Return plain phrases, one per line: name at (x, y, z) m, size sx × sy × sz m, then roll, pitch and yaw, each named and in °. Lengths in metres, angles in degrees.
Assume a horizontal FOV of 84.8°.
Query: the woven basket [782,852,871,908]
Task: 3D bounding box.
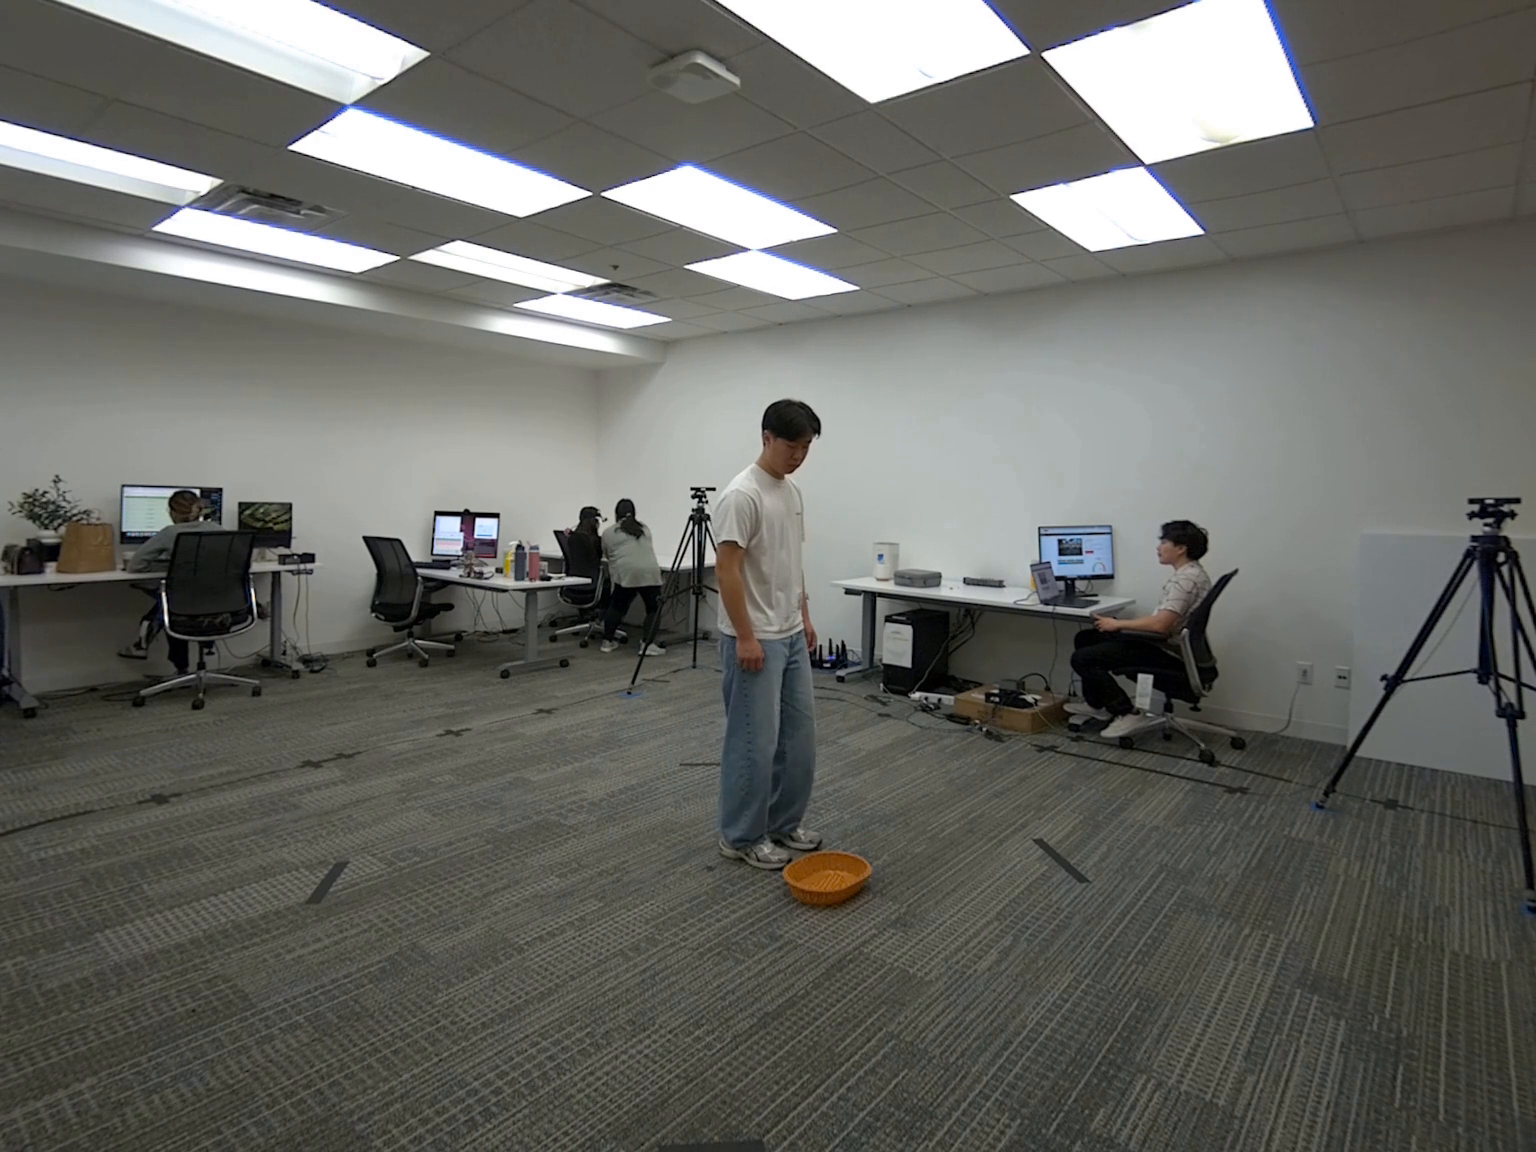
woven basket at (0.190, 1.046, 2.967) m, size 0.340 × 0.073 × 0.261 m, roll -4°, pitch 8°, yaw -45°
